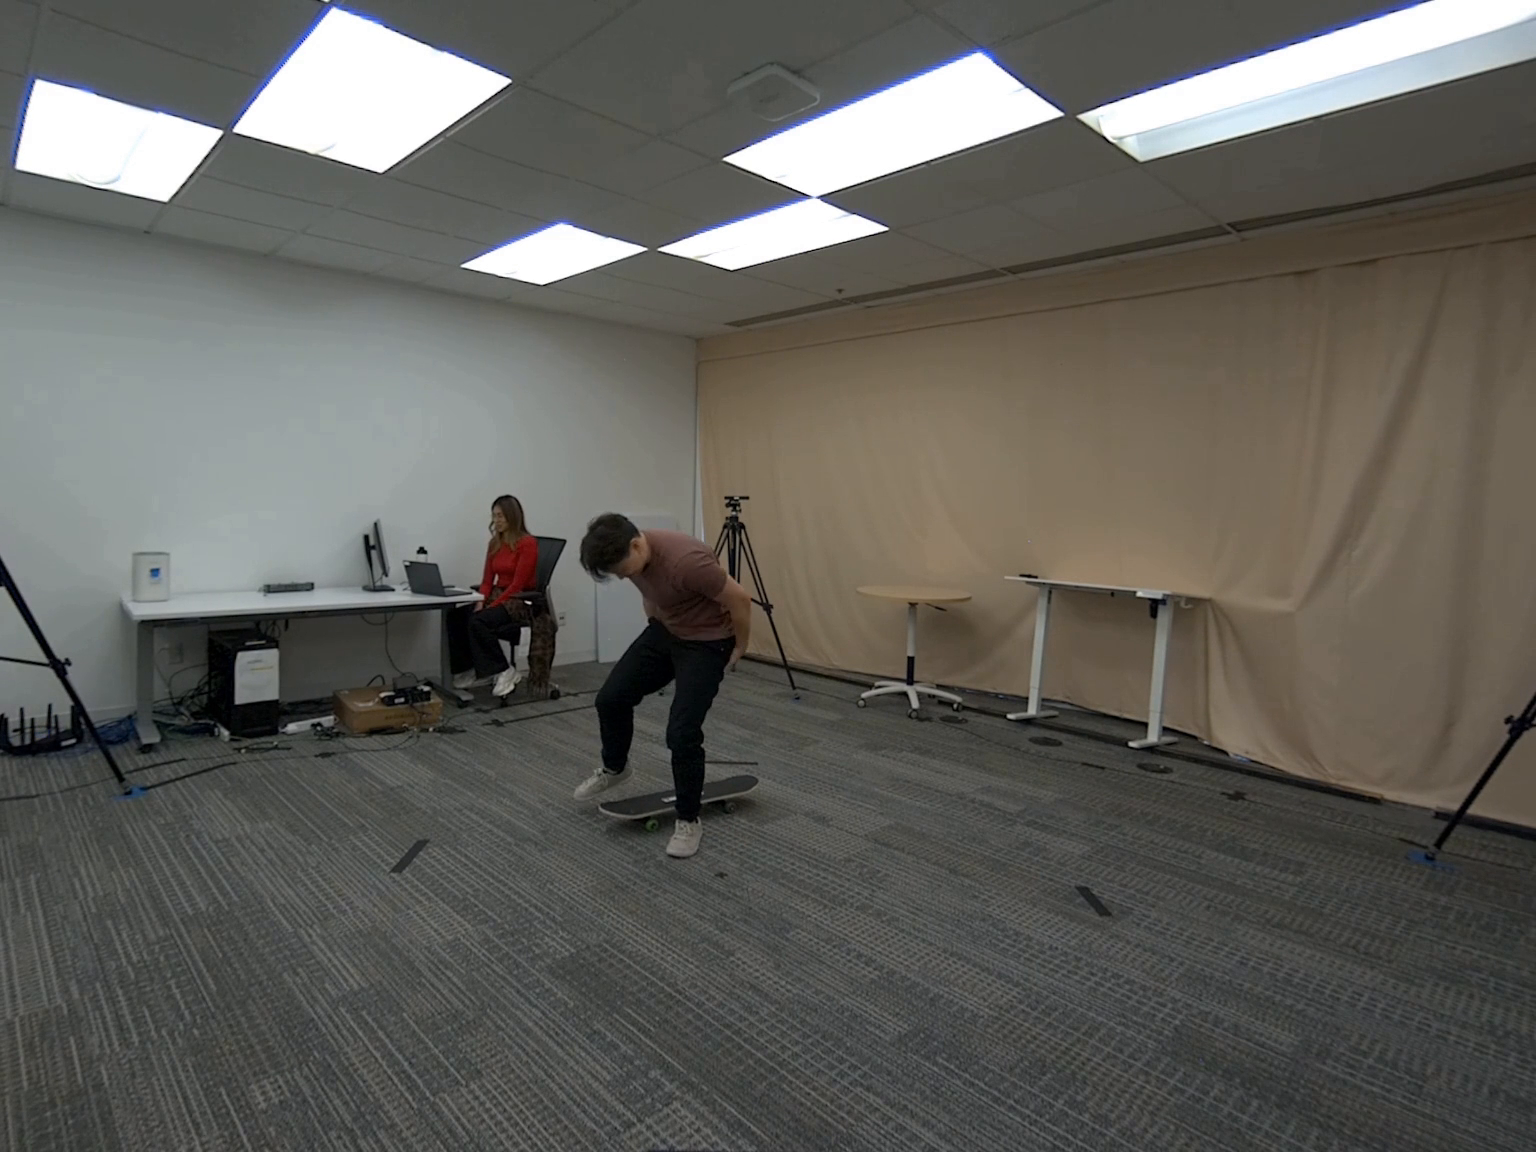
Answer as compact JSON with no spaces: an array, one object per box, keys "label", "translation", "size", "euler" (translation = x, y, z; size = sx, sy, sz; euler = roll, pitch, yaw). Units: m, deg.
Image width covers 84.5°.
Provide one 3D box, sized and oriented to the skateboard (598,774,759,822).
[{"label":"skateboard","translation":[-0.390,0.995,3.676],"size":[0.768,0.110,0.198],"euler":[-2,6,-37]}]
